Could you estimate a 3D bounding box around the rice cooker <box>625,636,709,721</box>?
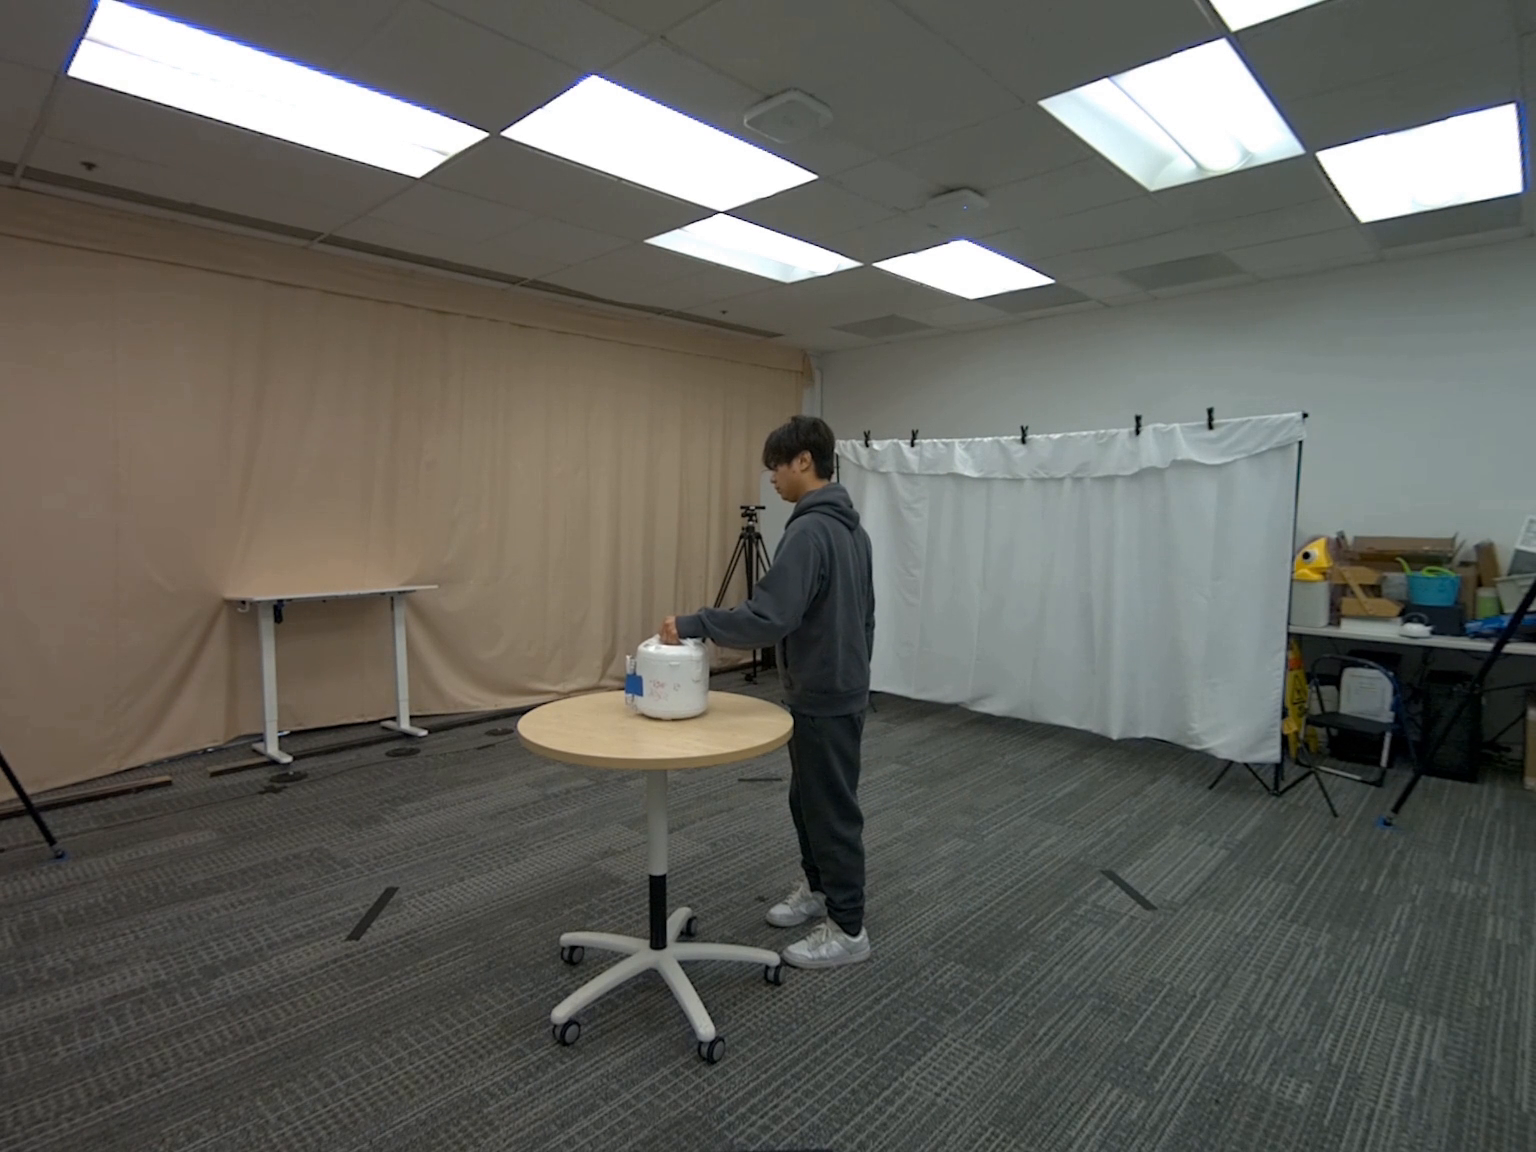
[{"bbox_3d":[-0.275,0.278,2.425,0.228,0.232,0.211,5,5,43],"label":"rice cooker"}]
